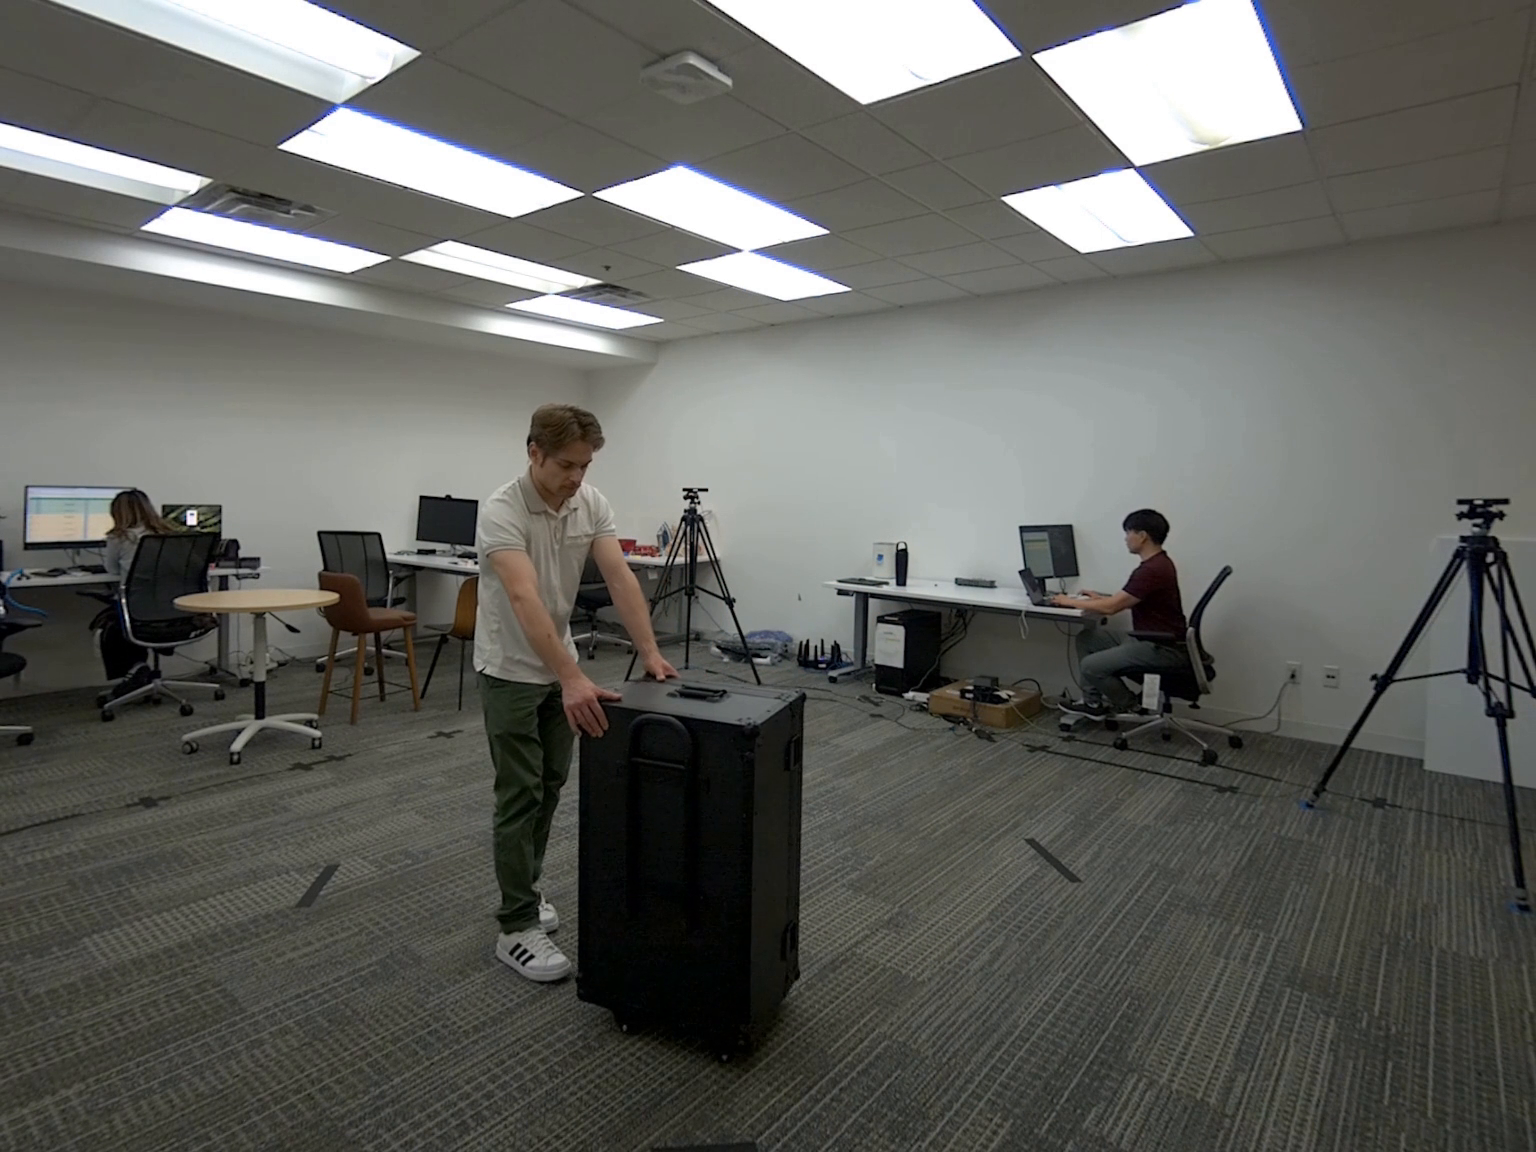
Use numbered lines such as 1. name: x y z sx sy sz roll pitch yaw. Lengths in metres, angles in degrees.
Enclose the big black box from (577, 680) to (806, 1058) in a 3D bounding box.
1. big black box: -0.196 0.736 2.213 0.536 0.866 0.377 2 3 22
